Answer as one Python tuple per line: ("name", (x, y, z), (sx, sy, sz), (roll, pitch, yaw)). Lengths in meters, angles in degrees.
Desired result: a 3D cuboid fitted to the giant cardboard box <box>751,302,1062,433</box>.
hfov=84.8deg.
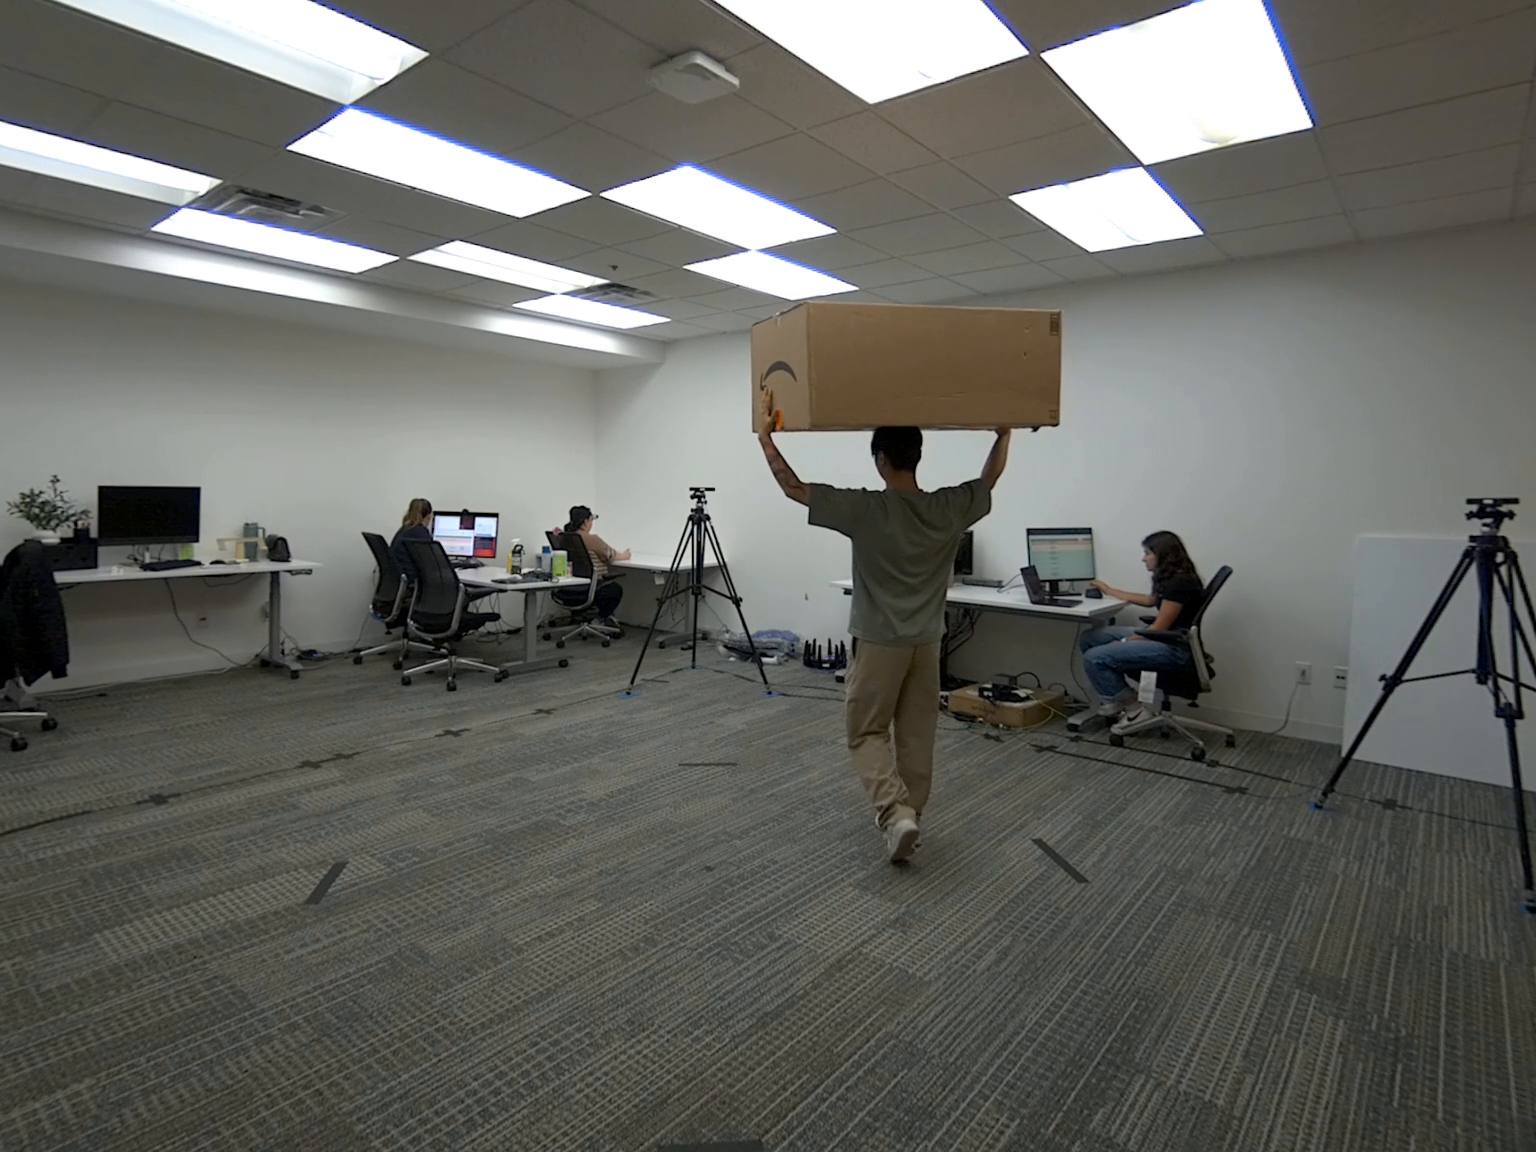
("giant cardboard box", (0.499, -0.778, 3.270), (1.008, 0.424, 0.591), (-4, 7, -18))
